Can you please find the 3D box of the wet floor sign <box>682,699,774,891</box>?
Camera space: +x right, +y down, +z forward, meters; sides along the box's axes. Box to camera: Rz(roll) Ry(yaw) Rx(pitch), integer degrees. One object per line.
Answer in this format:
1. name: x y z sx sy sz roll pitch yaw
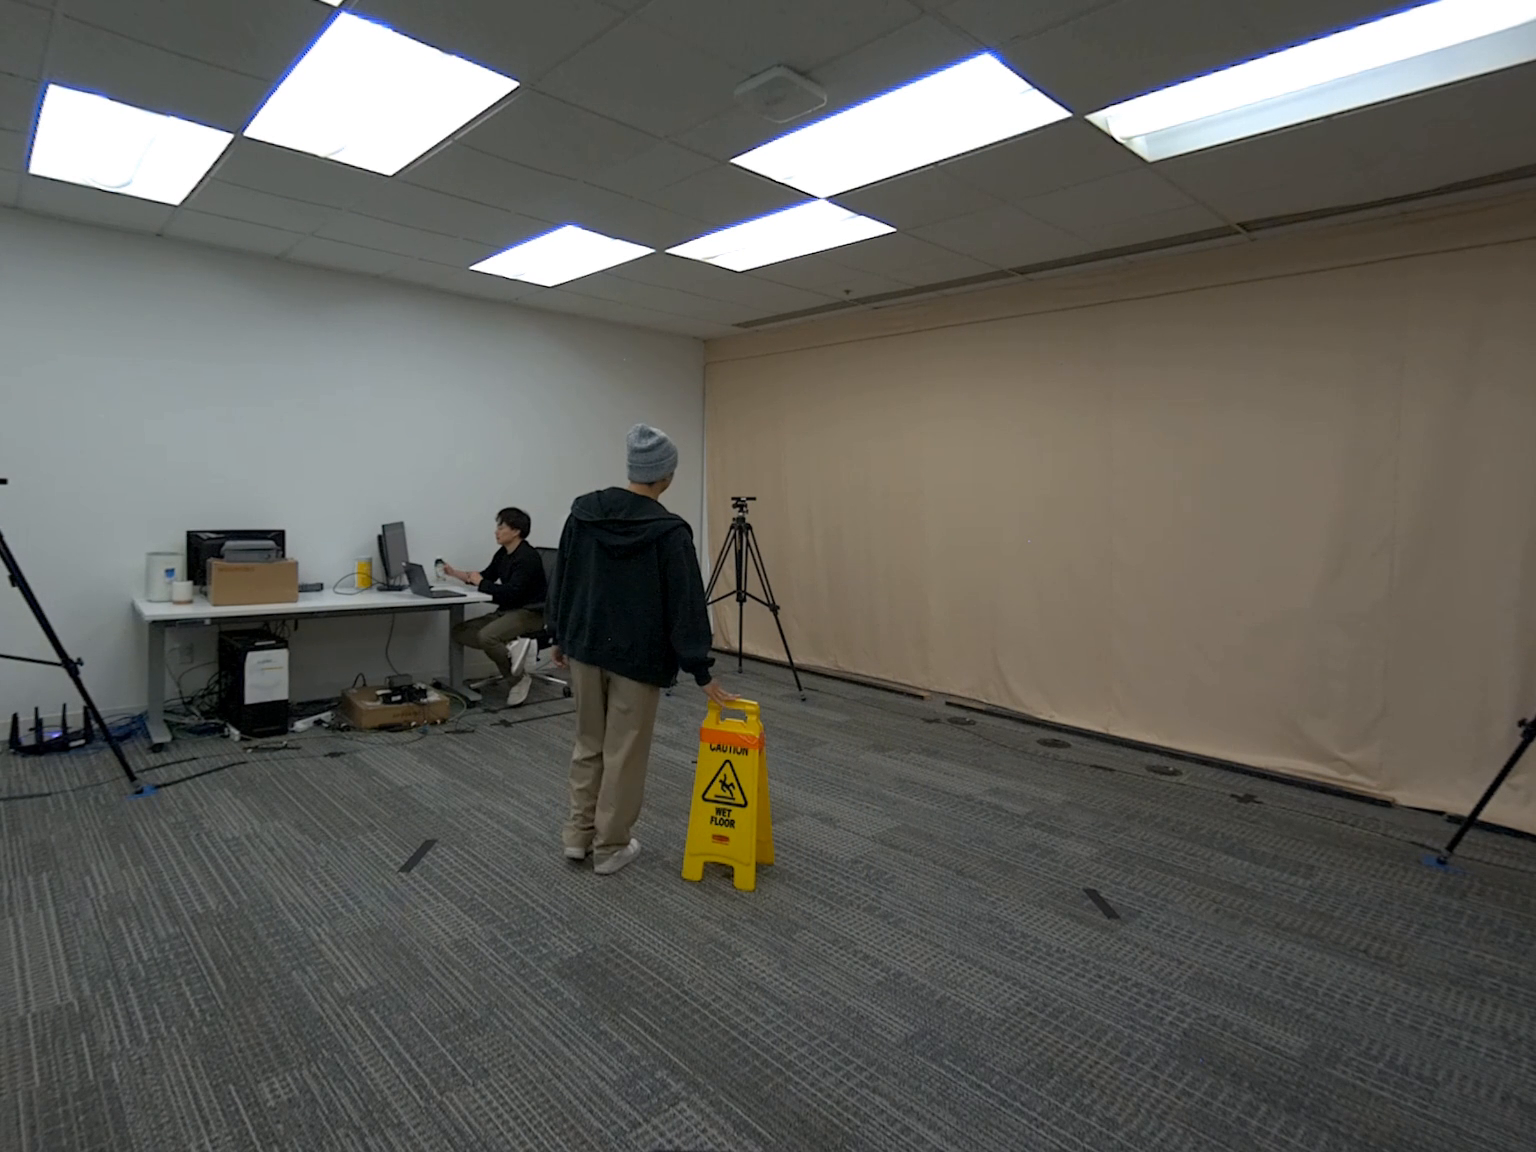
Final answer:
1. wet floor sign: -0.144 0.780 3.132 0.286 0.645 0.286 3 3 18
